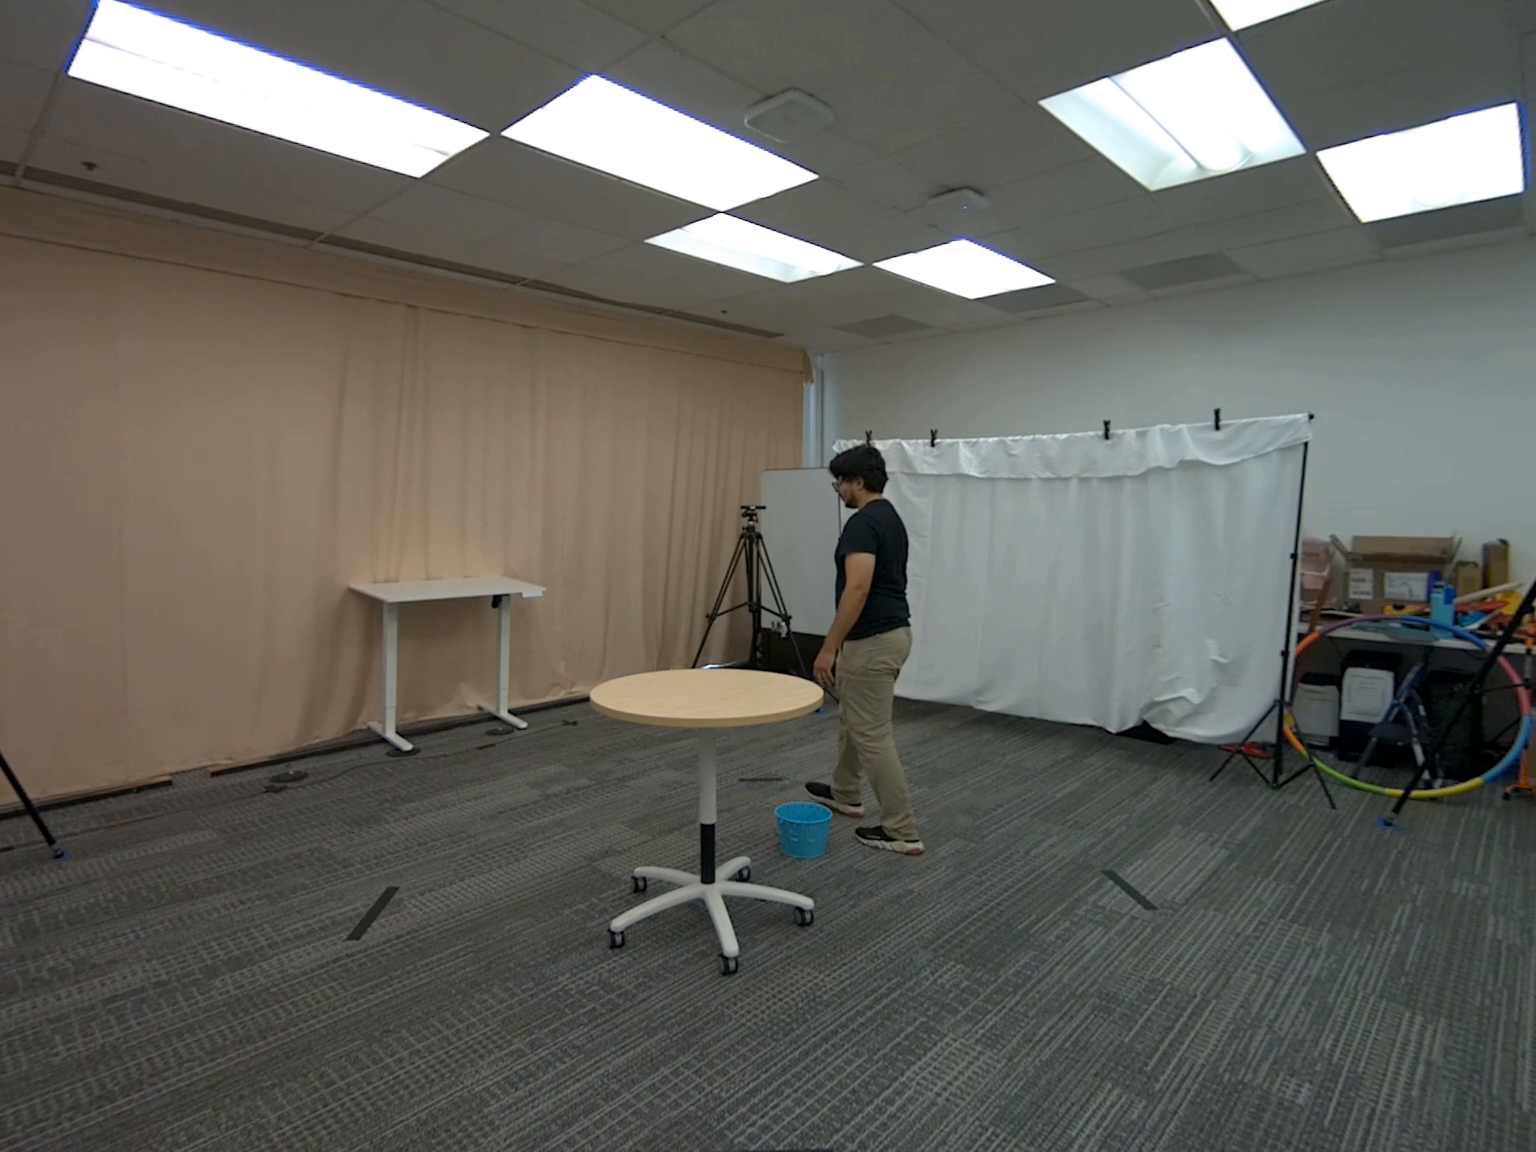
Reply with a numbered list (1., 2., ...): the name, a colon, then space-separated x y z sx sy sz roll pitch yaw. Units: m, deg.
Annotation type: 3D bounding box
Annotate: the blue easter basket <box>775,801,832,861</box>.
1. blue easter basket: 0.145 1.027 3.414 0.243 0.155 0.244 0 5 -2
